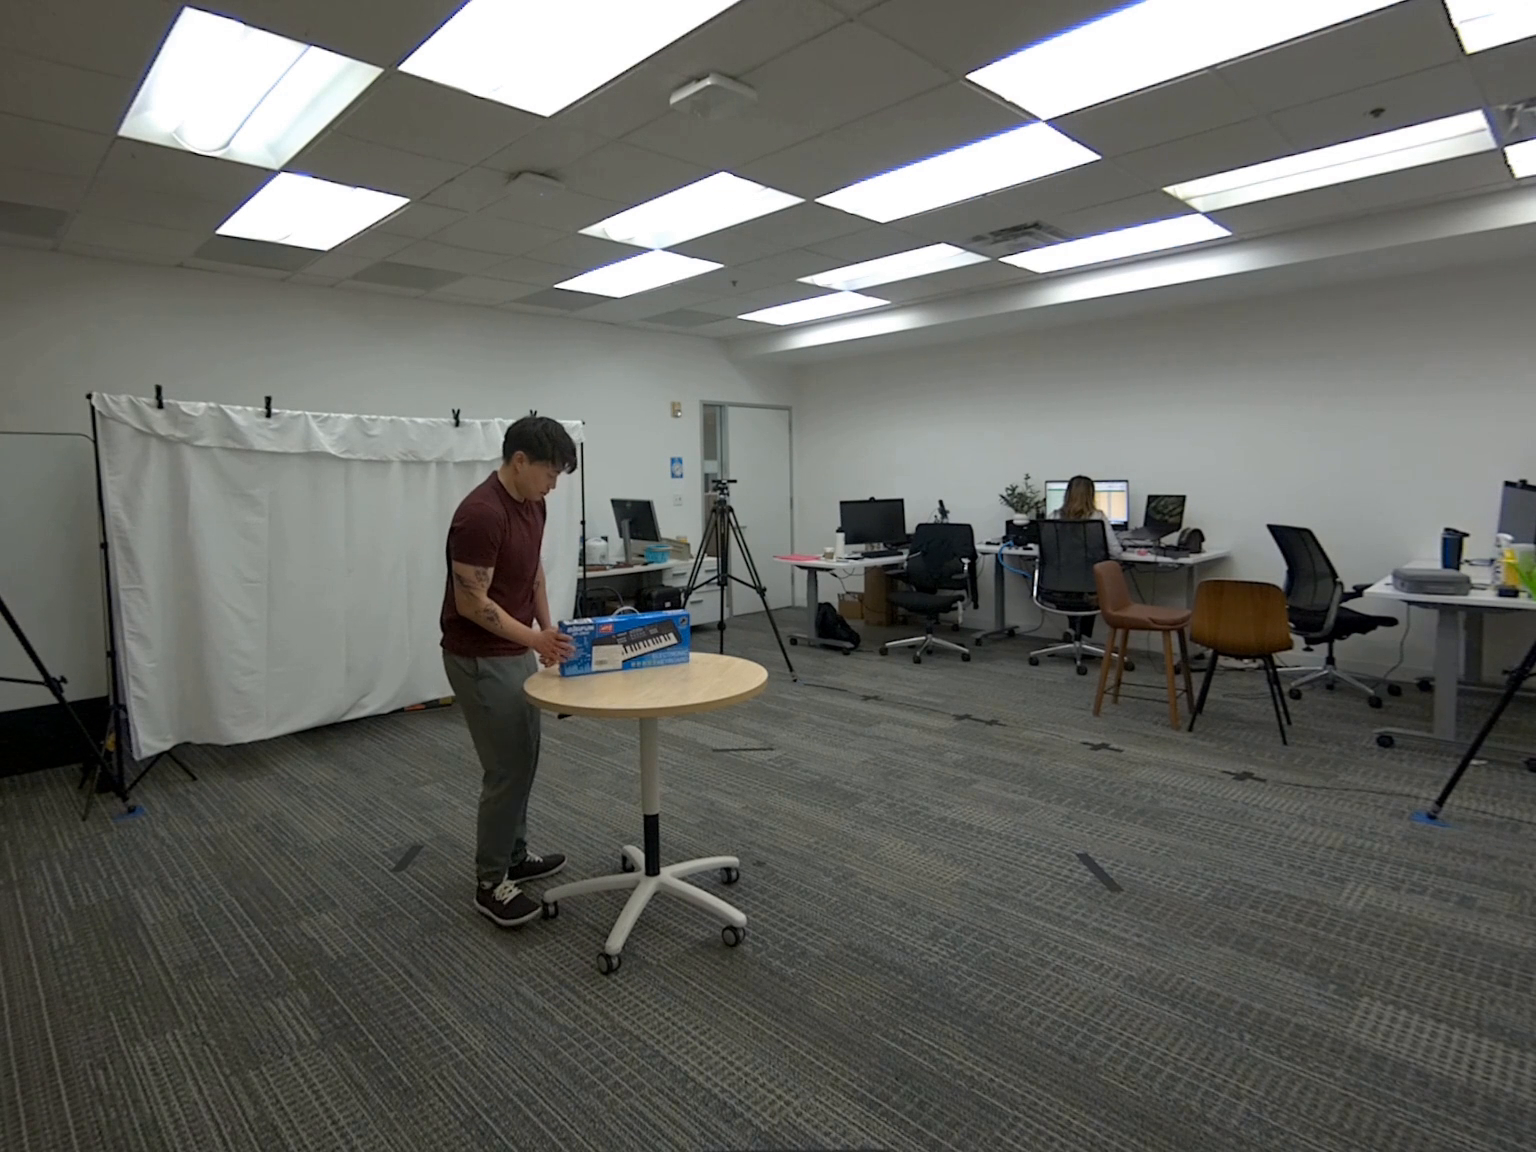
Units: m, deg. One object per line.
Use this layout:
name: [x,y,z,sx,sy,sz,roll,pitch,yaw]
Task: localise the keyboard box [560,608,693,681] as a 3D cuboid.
keyboard box: [-0.463,0.219,2.816,0.428,0.174,0.061,-5,12,-26]
